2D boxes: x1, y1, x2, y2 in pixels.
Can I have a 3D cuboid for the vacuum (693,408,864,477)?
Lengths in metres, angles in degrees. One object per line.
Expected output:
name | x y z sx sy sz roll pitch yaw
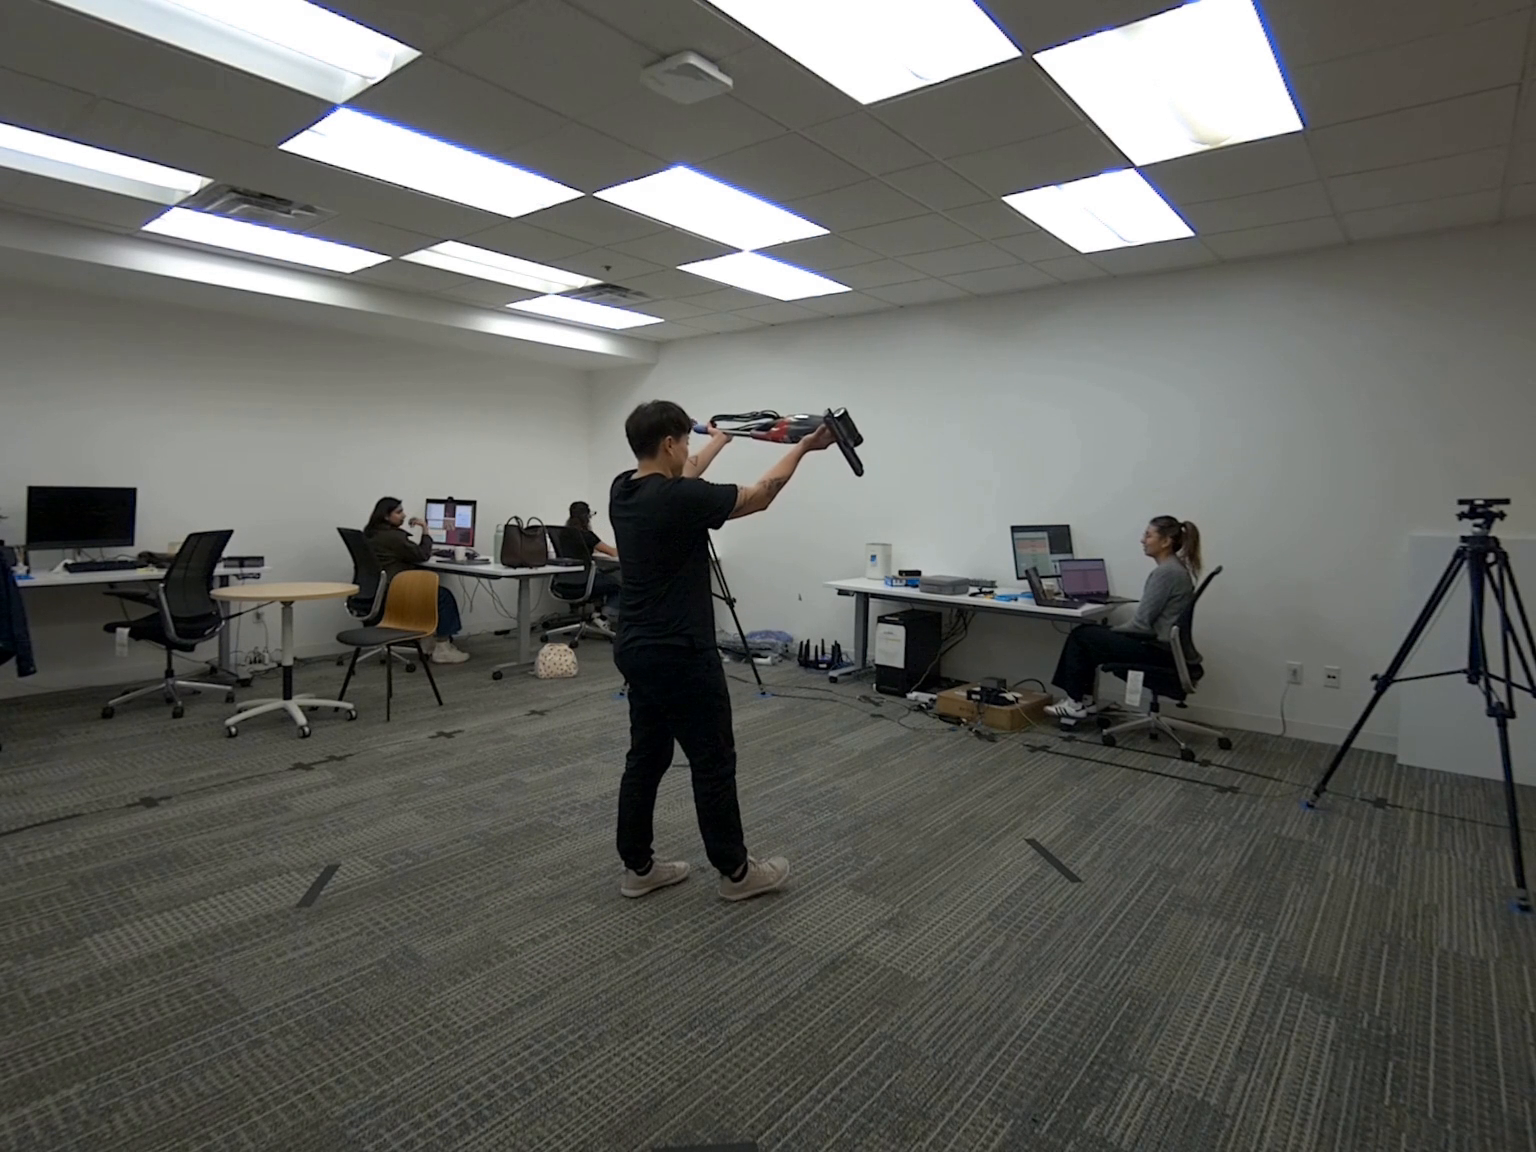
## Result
vacuum | -0.034 -0.564 3.214 0.144 0.244 1.088 -44 31 -15
